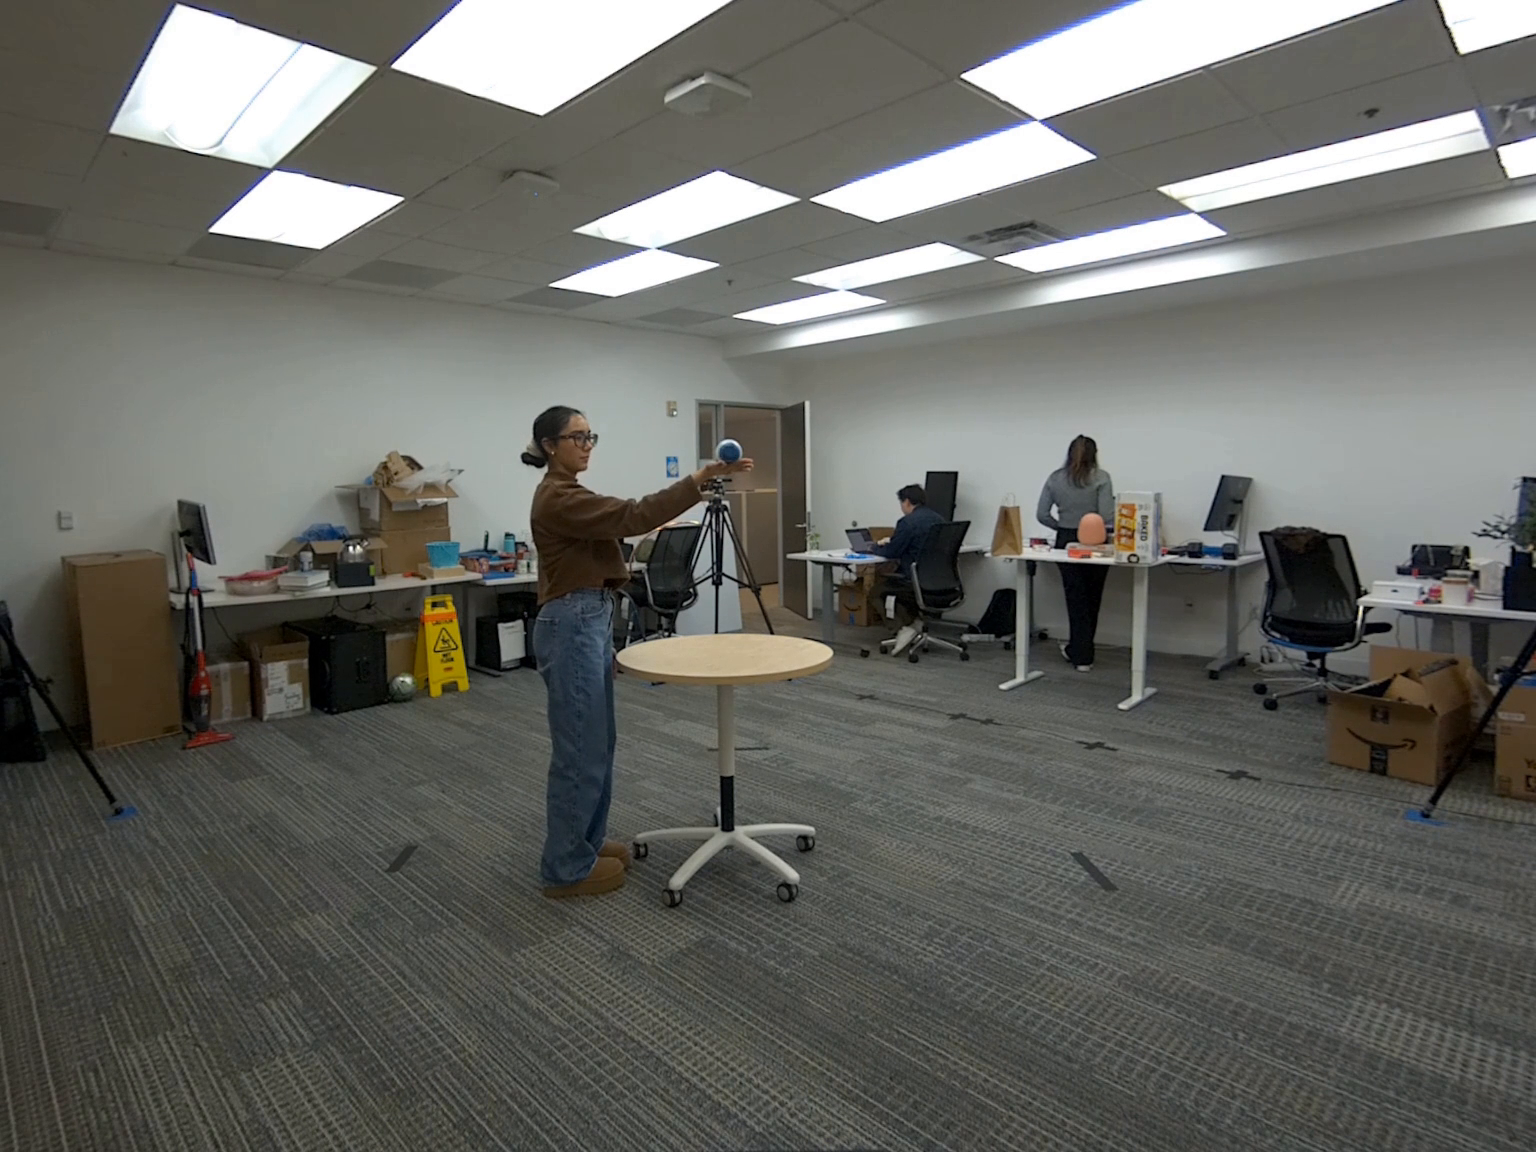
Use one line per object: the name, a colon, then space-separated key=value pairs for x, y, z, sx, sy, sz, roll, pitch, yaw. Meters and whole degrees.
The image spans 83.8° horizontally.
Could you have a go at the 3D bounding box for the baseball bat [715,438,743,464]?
baseball bat: x=-0.116 y=-0.382 z=2.685 sx=0.089 sy=0.089 sz=0.544 roll=-1 pitch=6 yaw=0
